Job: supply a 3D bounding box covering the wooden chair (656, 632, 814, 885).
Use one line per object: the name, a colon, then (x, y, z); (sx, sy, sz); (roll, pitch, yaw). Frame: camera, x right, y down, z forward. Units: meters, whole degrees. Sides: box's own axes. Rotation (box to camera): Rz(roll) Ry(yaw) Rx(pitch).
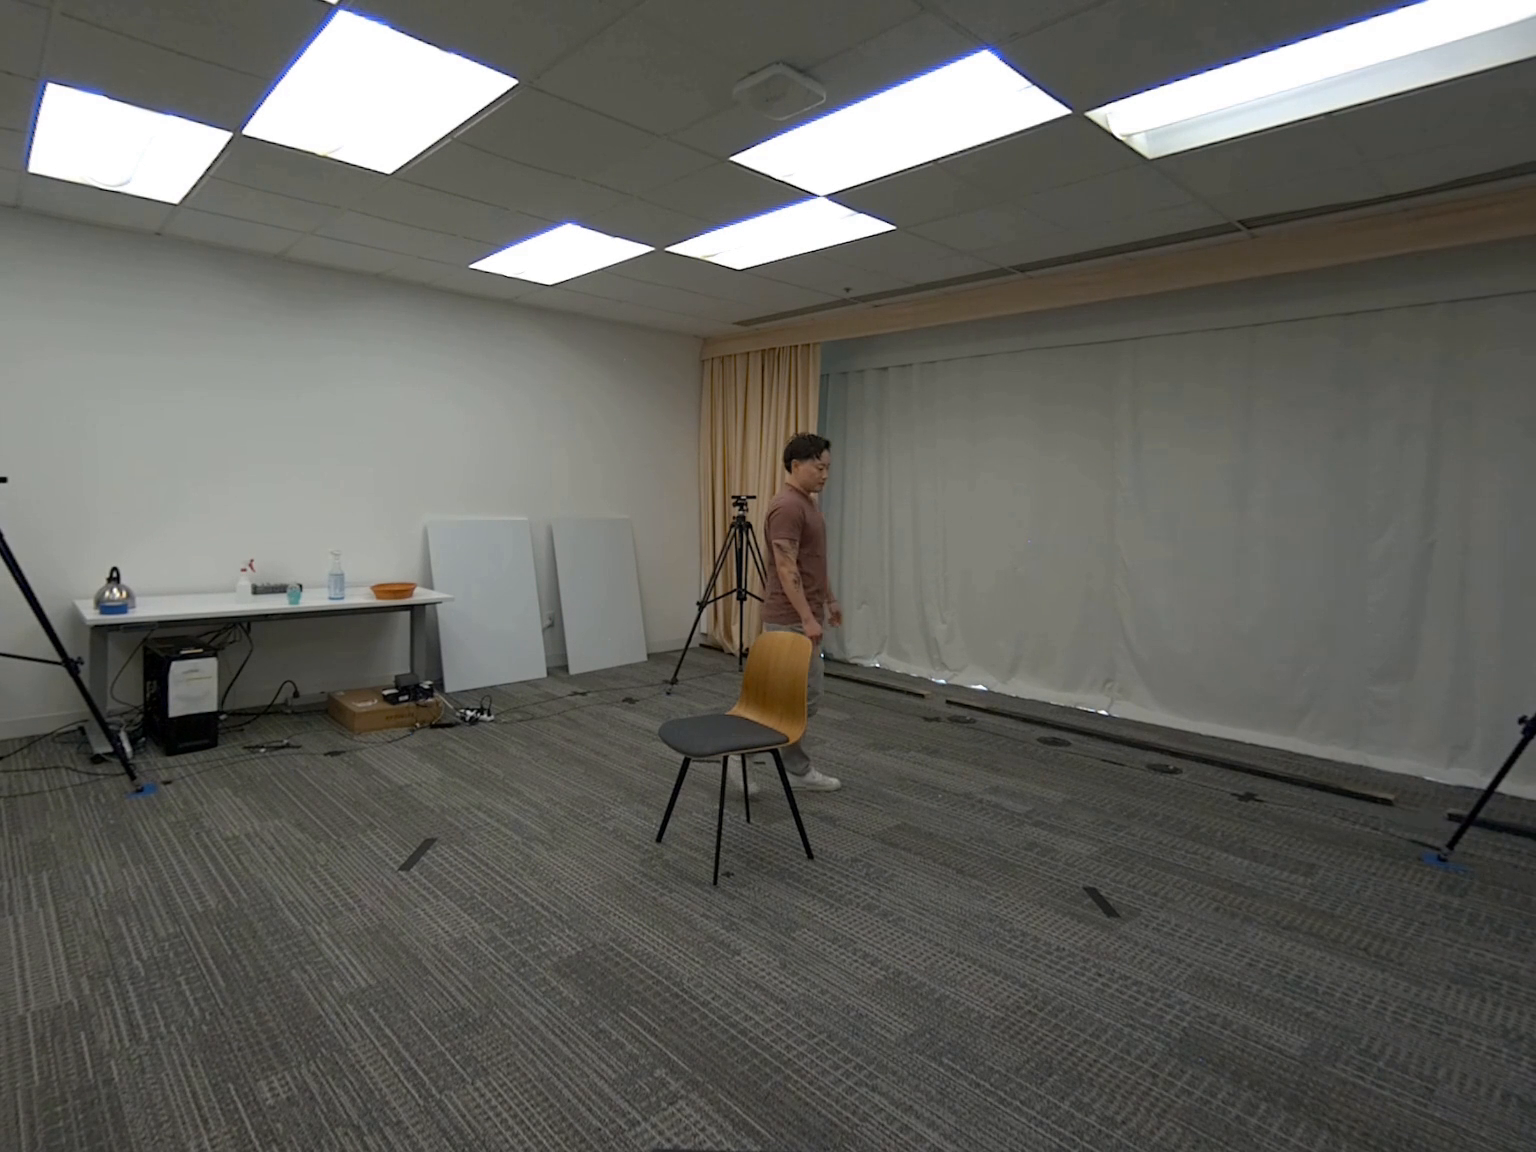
wooden chair: (-0.139, 0.659, 3.280); (0.511, 0.877, 0.490); (4, 1, -34)
